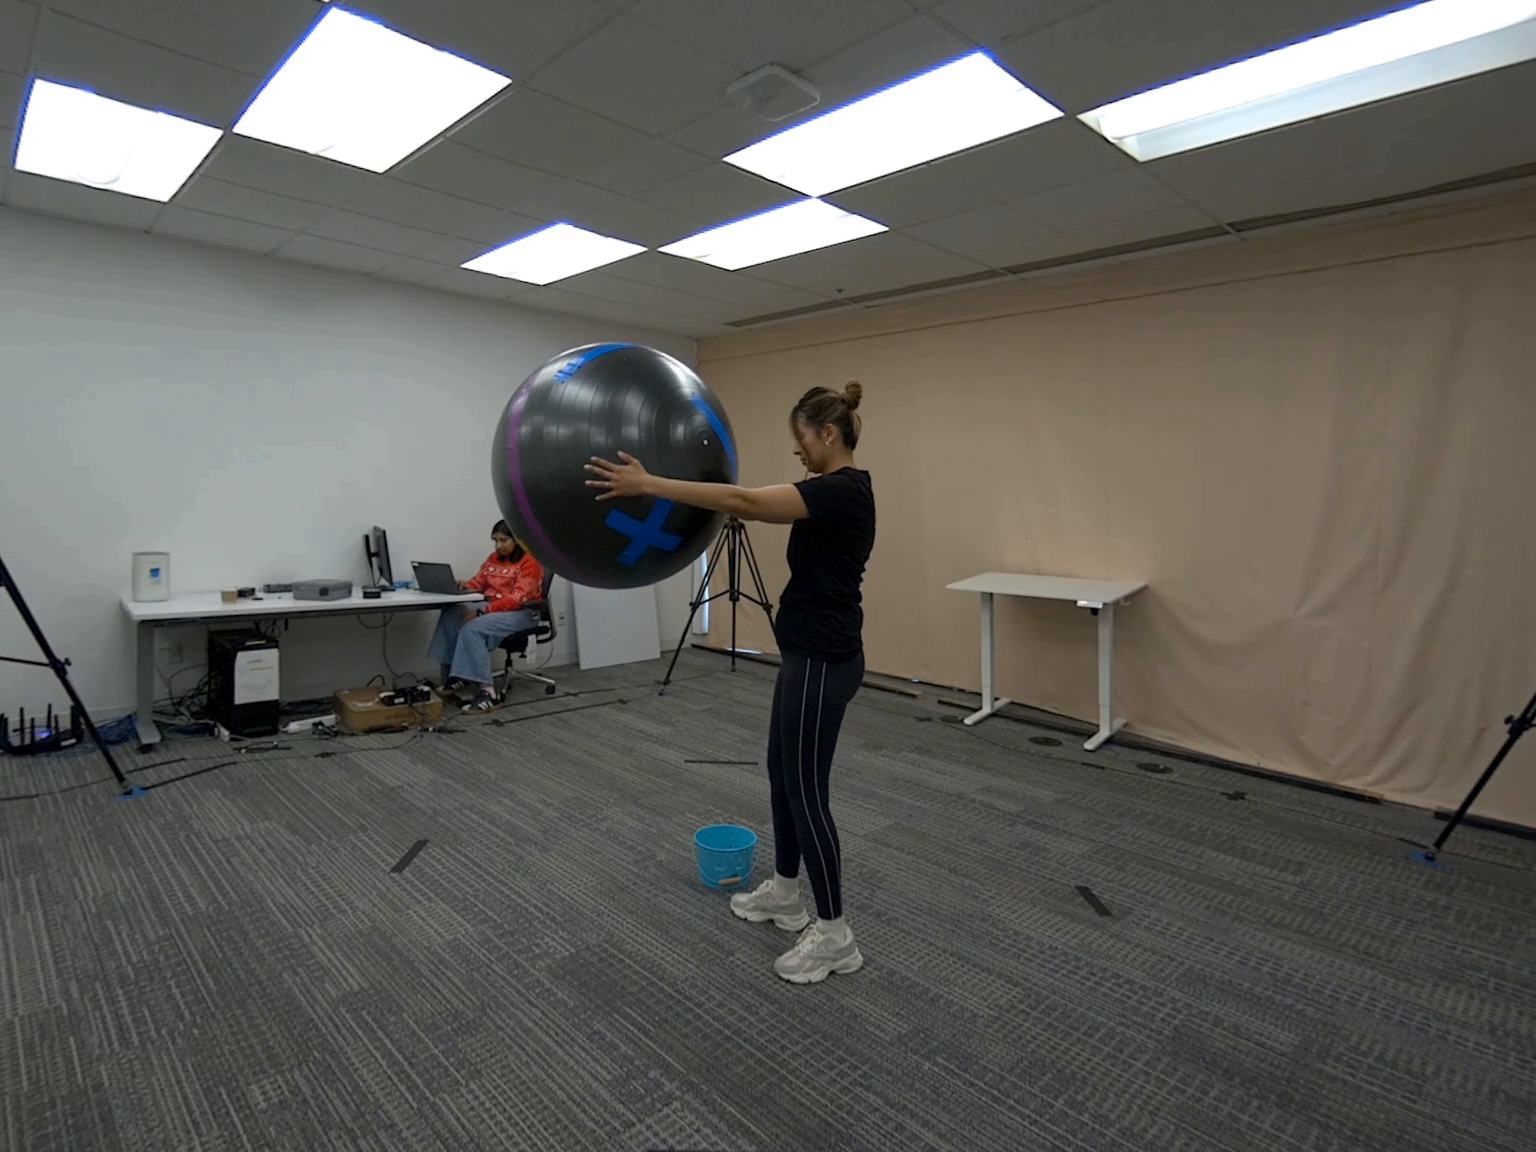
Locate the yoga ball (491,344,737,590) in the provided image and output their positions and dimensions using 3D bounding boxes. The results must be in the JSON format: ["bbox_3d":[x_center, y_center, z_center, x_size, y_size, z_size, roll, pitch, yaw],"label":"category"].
[{"bbox_3d":[-0.475,-0.327,2.608,0.757,0.756,0.761,1,4,-1],"label":"yoga ball"}]
